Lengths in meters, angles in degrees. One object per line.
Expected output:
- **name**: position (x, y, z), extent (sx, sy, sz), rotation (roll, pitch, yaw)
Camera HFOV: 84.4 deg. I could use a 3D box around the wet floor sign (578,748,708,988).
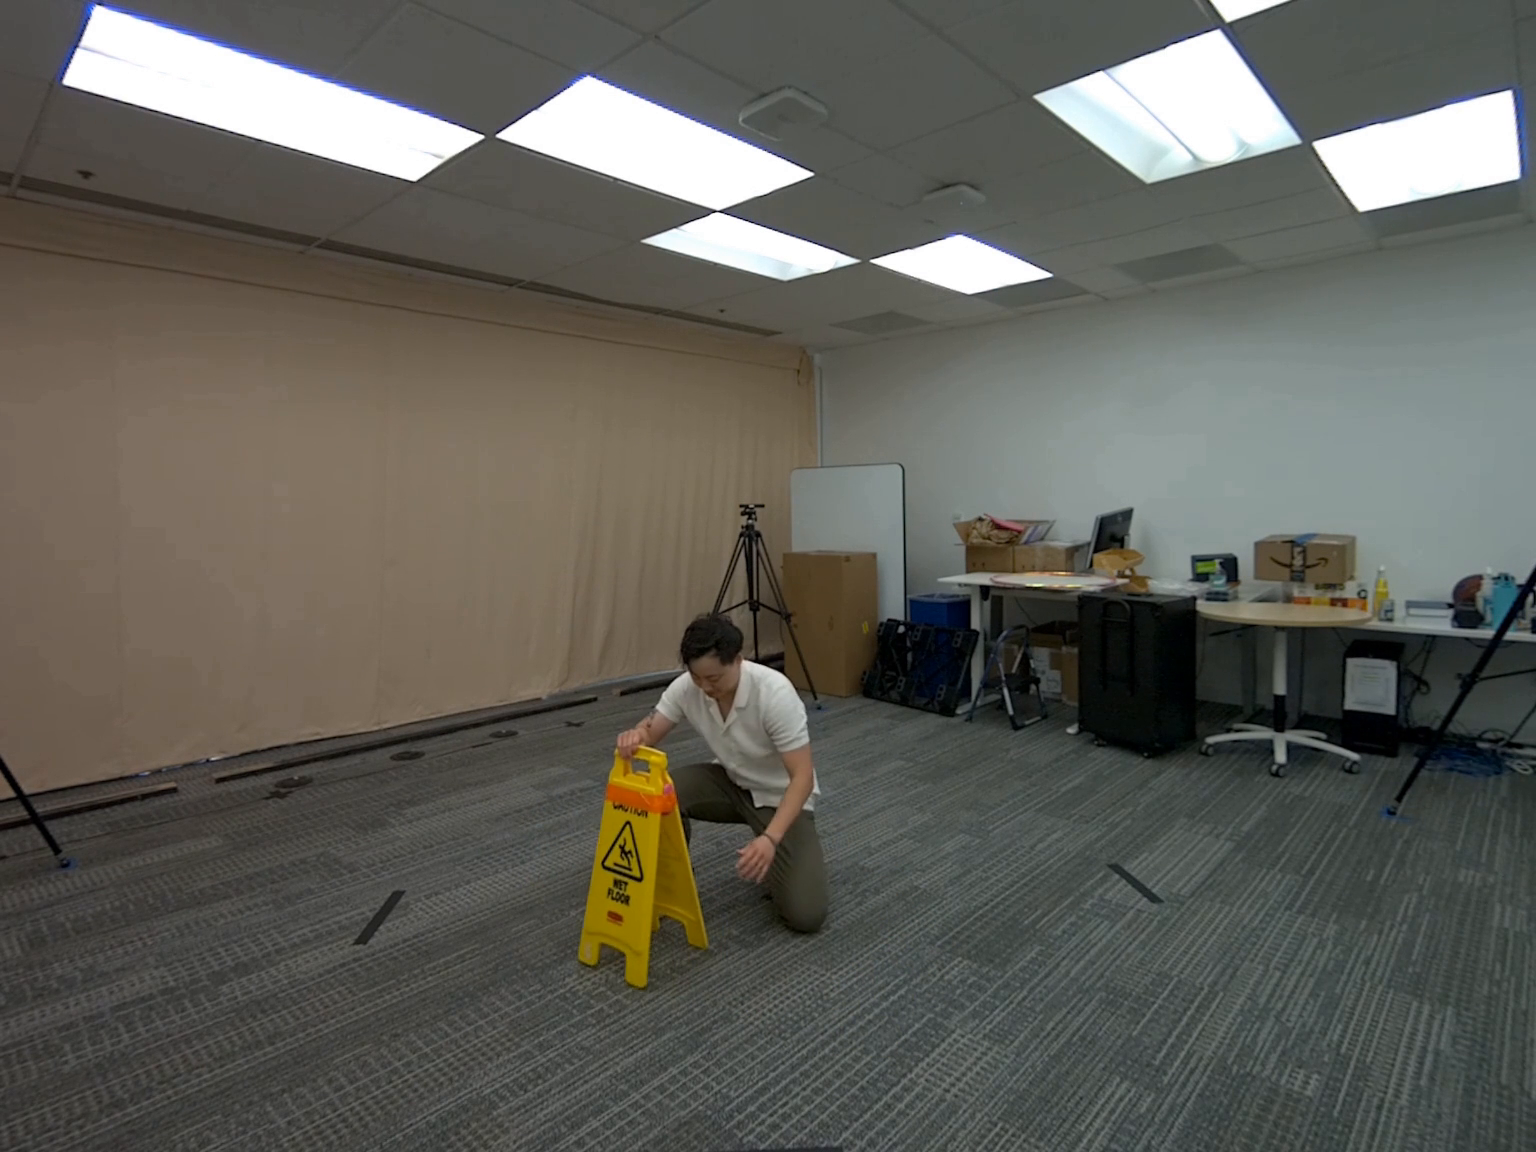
- **wet floor sign**: position (-0.384, 0.854, 2.595), extent (0.291, 0.645, 0.281), rotation (0, 4, 37)
